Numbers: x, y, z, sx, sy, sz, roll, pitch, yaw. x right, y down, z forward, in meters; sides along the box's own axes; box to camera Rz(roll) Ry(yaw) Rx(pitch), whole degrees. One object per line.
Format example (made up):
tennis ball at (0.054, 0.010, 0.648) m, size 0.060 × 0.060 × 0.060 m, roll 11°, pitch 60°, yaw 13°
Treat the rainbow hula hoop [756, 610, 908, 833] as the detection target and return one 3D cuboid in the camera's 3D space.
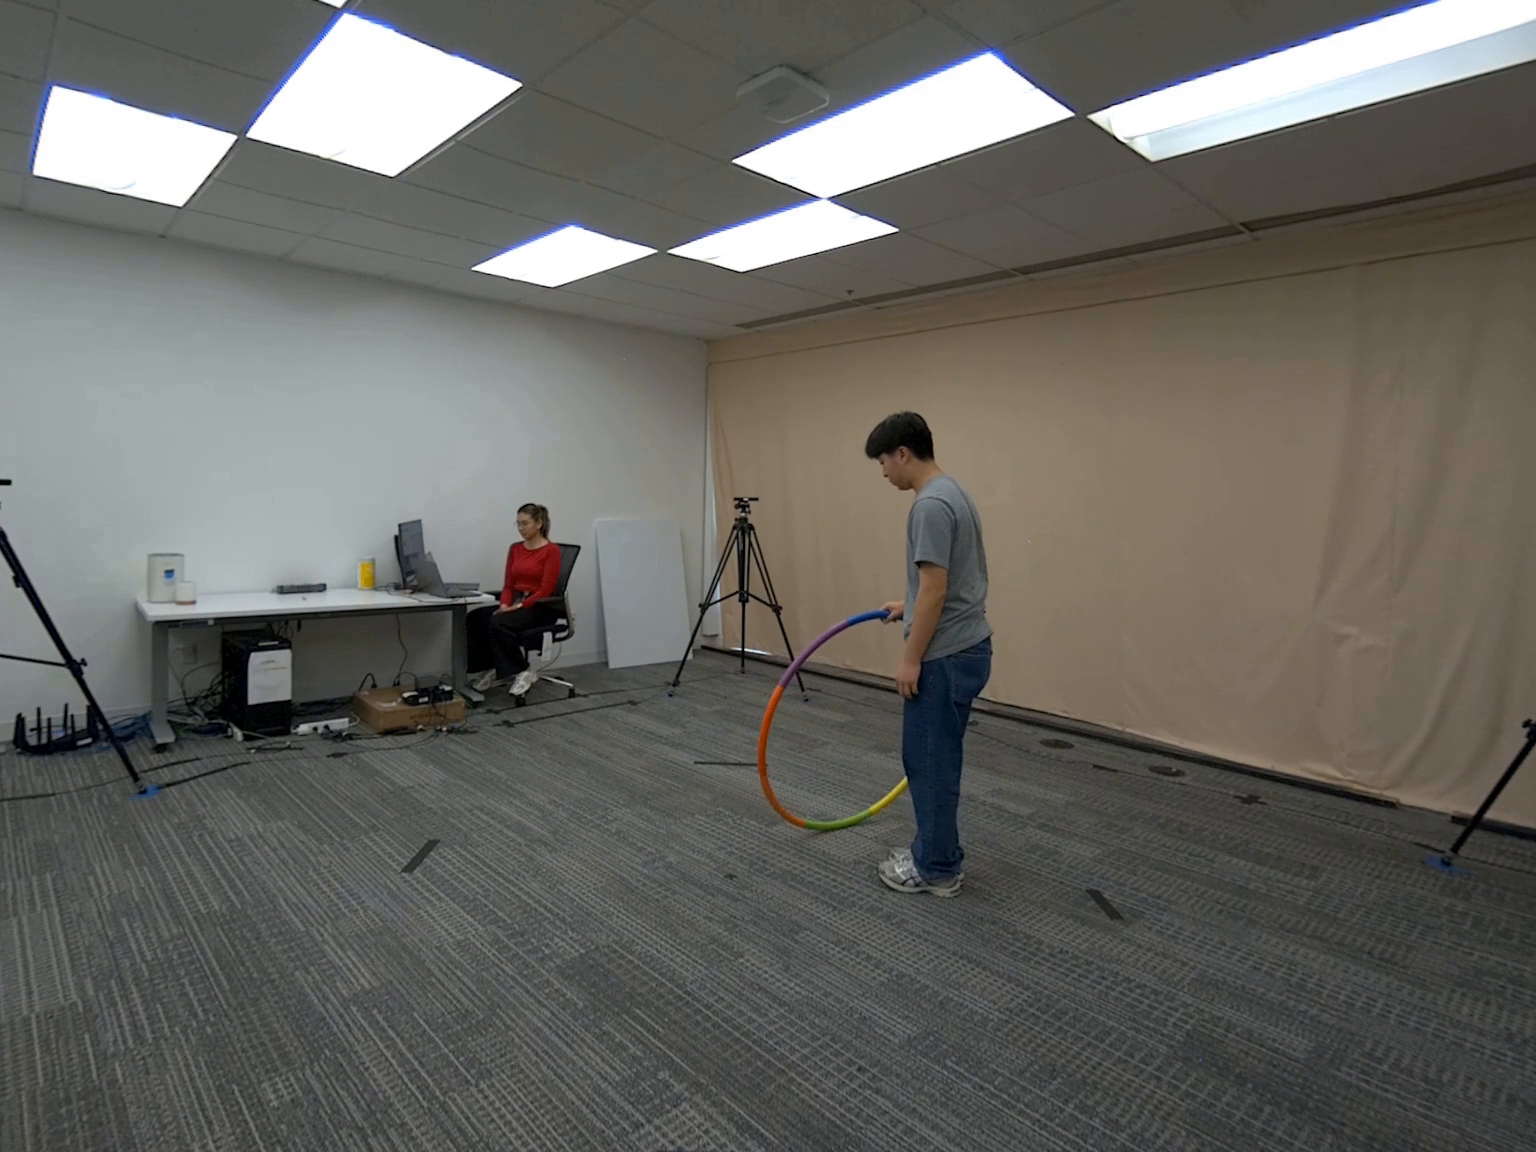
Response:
rainbow hula hoop at (0.353, 0.604, 3.484) m, size 0.958 × 0.970 × 0.036 m, roll -1°, pitch 18°, yaw -32°
